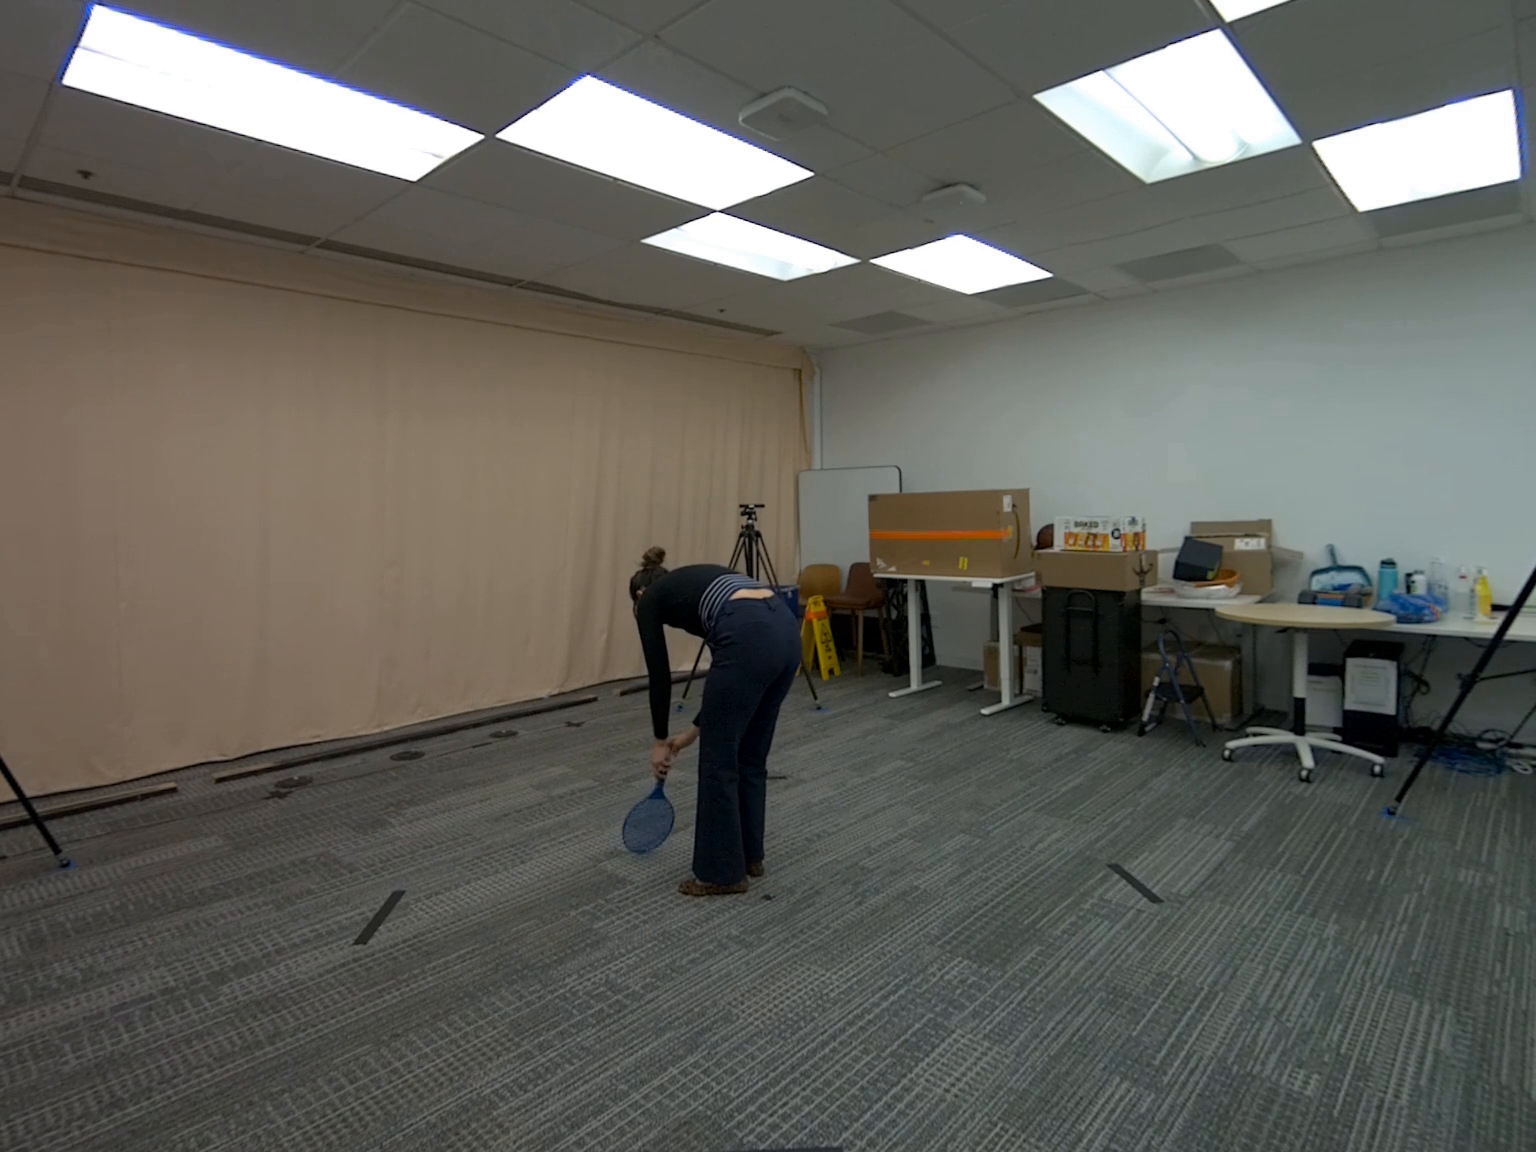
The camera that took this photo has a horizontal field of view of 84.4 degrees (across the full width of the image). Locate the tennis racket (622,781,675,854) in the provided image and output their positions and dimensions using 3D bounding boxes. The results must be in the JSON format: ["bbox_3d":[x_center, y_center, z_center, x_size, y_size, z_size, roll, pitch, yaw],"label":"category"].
[{"bbox_3d":[-0.434,0.910,3.336,0.208,0.431,0.033,13,14,-25],"label":"tennis racket"}]
